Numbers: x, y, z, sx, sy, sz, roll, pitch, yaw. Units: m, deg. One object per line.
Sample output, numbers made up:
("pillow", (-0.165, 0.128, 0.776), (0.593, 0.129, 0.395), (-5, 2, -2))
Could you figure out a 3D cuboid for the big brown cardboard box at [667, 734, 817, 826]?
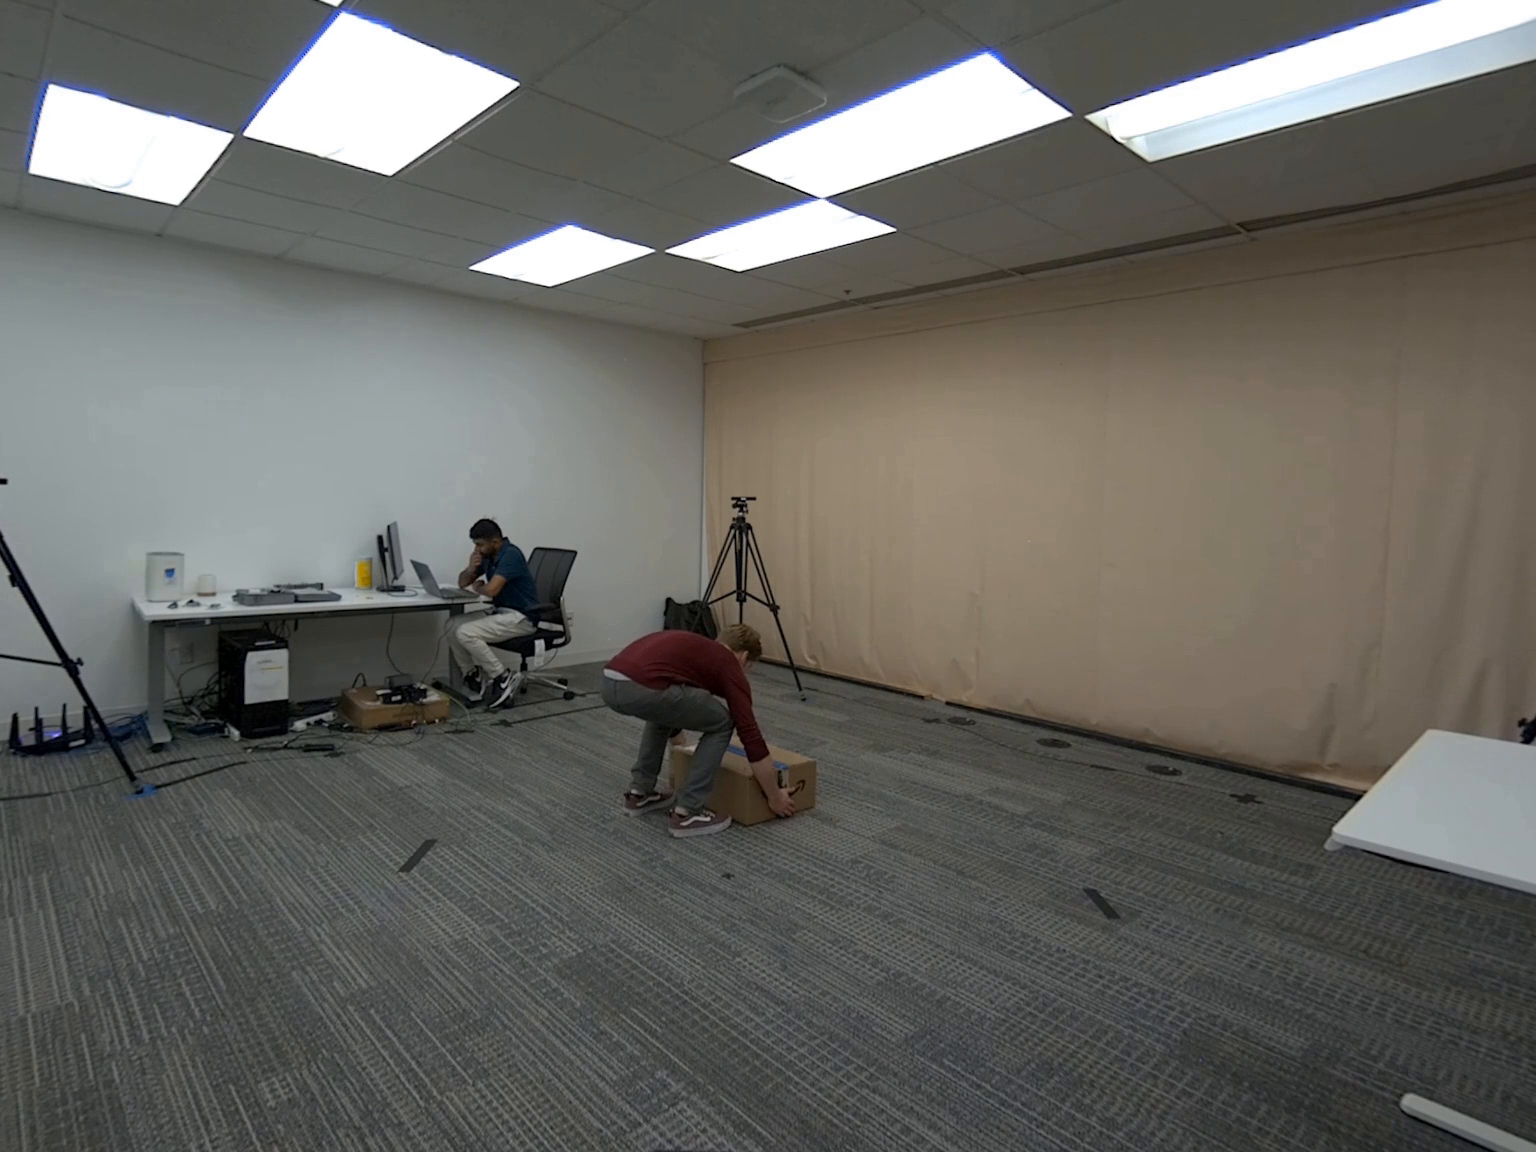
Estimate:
("big brown cardboard box", (-0.137, 0.913, 3.905), (0.408, 0.232, 0.604), (-2, 6, -42))
